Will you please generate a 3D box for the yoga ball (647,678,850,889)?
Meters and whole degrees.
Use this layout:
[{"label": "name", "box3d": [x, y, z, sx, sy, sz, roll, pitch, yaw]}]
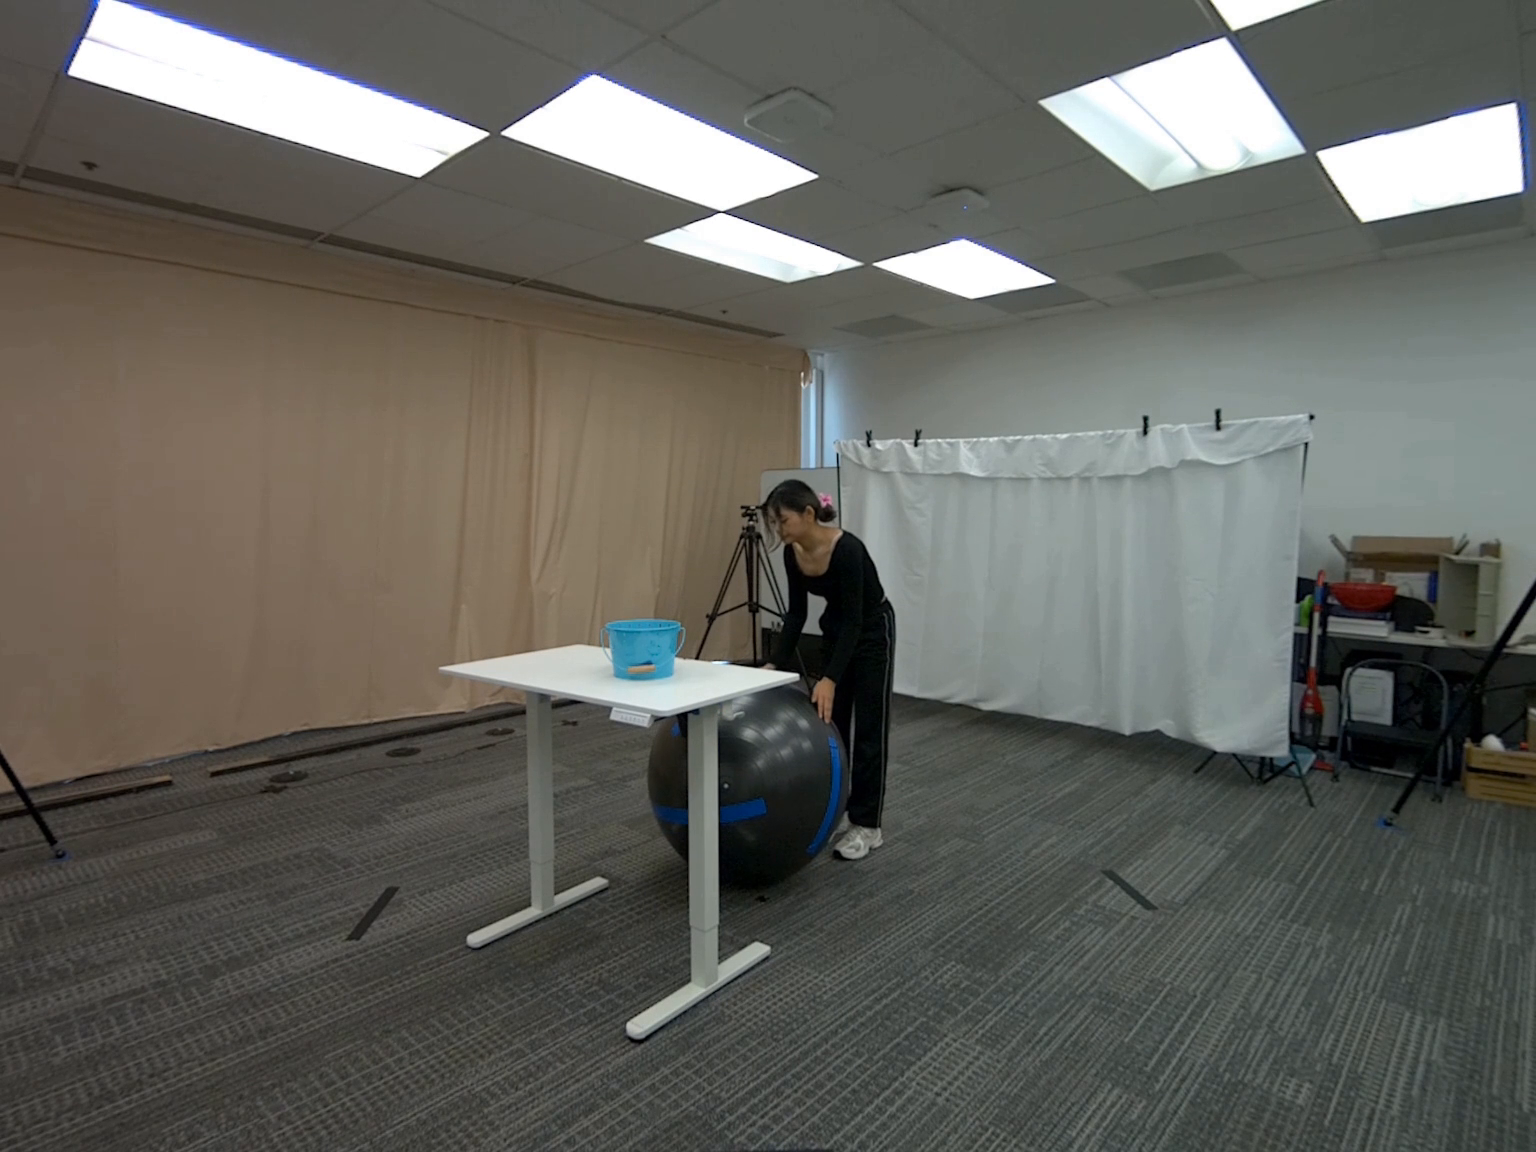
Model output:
[{"label": "yoga ball", "box3d": [-0.078, 0.756, 3.170, 0.757, 0.756, 0.761, 0, 4, -2]}]
